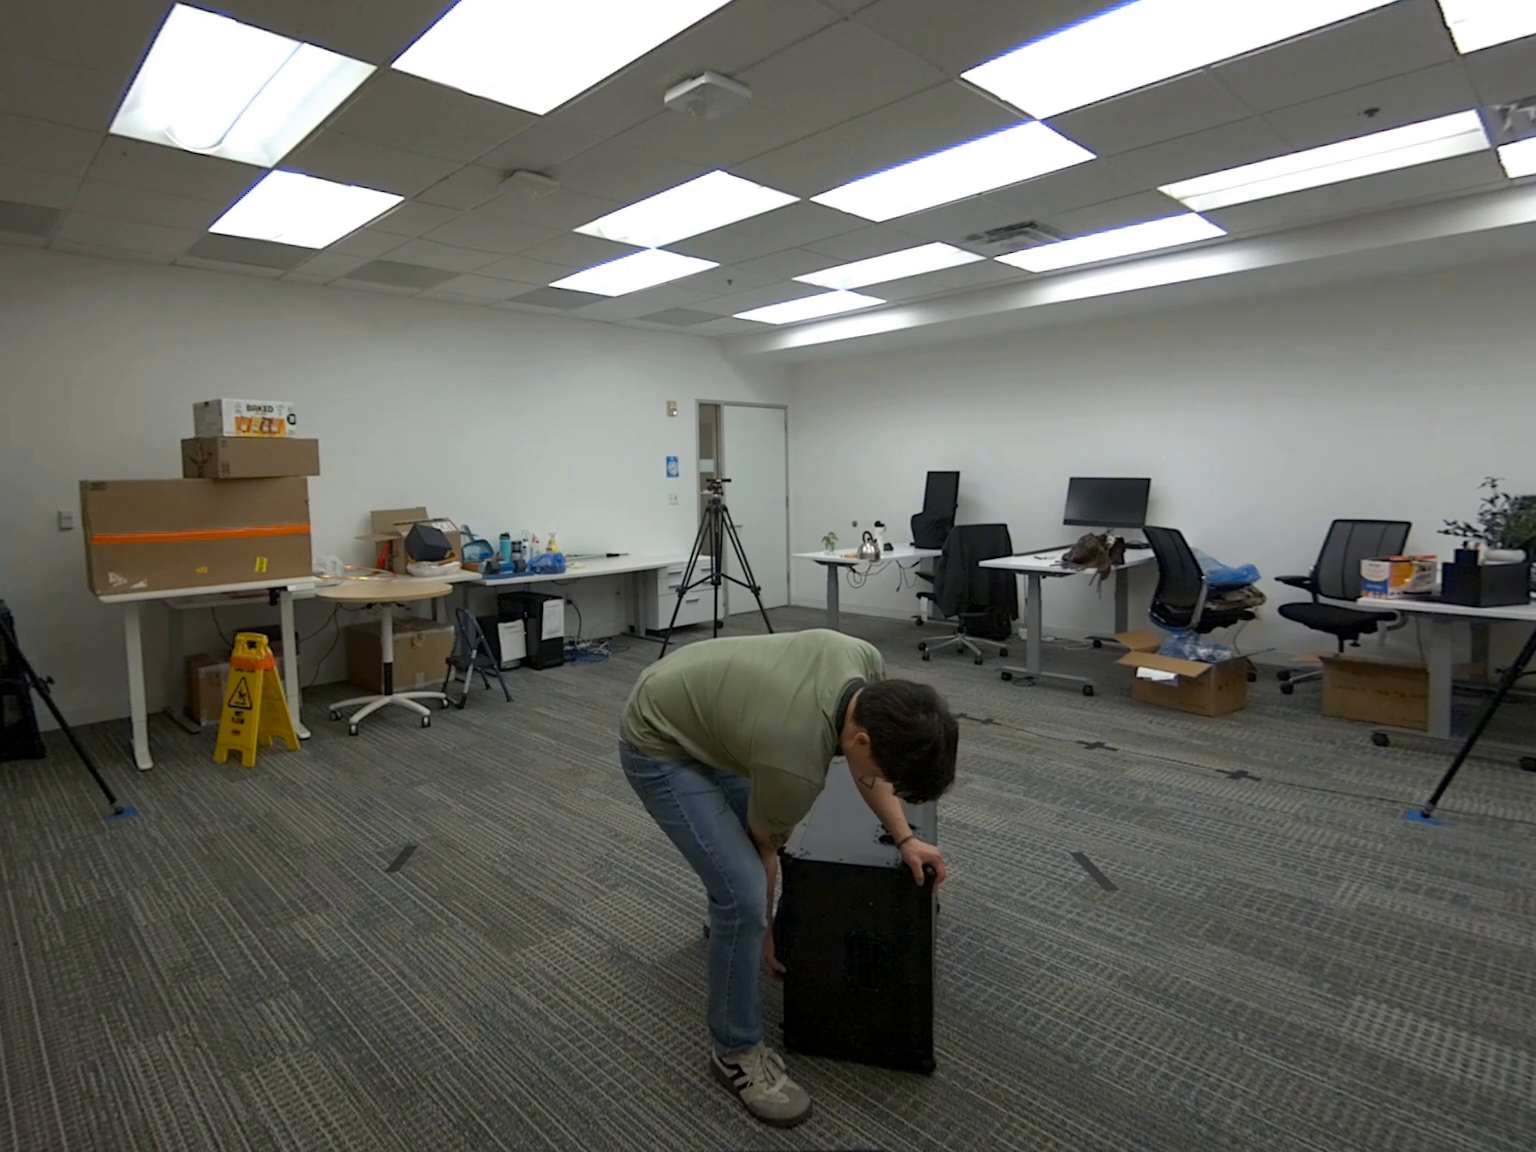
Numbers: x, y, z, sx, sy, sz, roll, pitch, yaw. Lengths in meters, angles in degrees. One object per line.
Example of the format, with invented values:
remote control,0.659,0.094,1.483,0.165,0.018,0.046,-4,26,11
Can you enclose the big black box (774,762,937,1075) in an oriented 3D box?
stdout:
big black box,0.276,0.865,2.374,0.401,0.519,0.854,0,5,12
